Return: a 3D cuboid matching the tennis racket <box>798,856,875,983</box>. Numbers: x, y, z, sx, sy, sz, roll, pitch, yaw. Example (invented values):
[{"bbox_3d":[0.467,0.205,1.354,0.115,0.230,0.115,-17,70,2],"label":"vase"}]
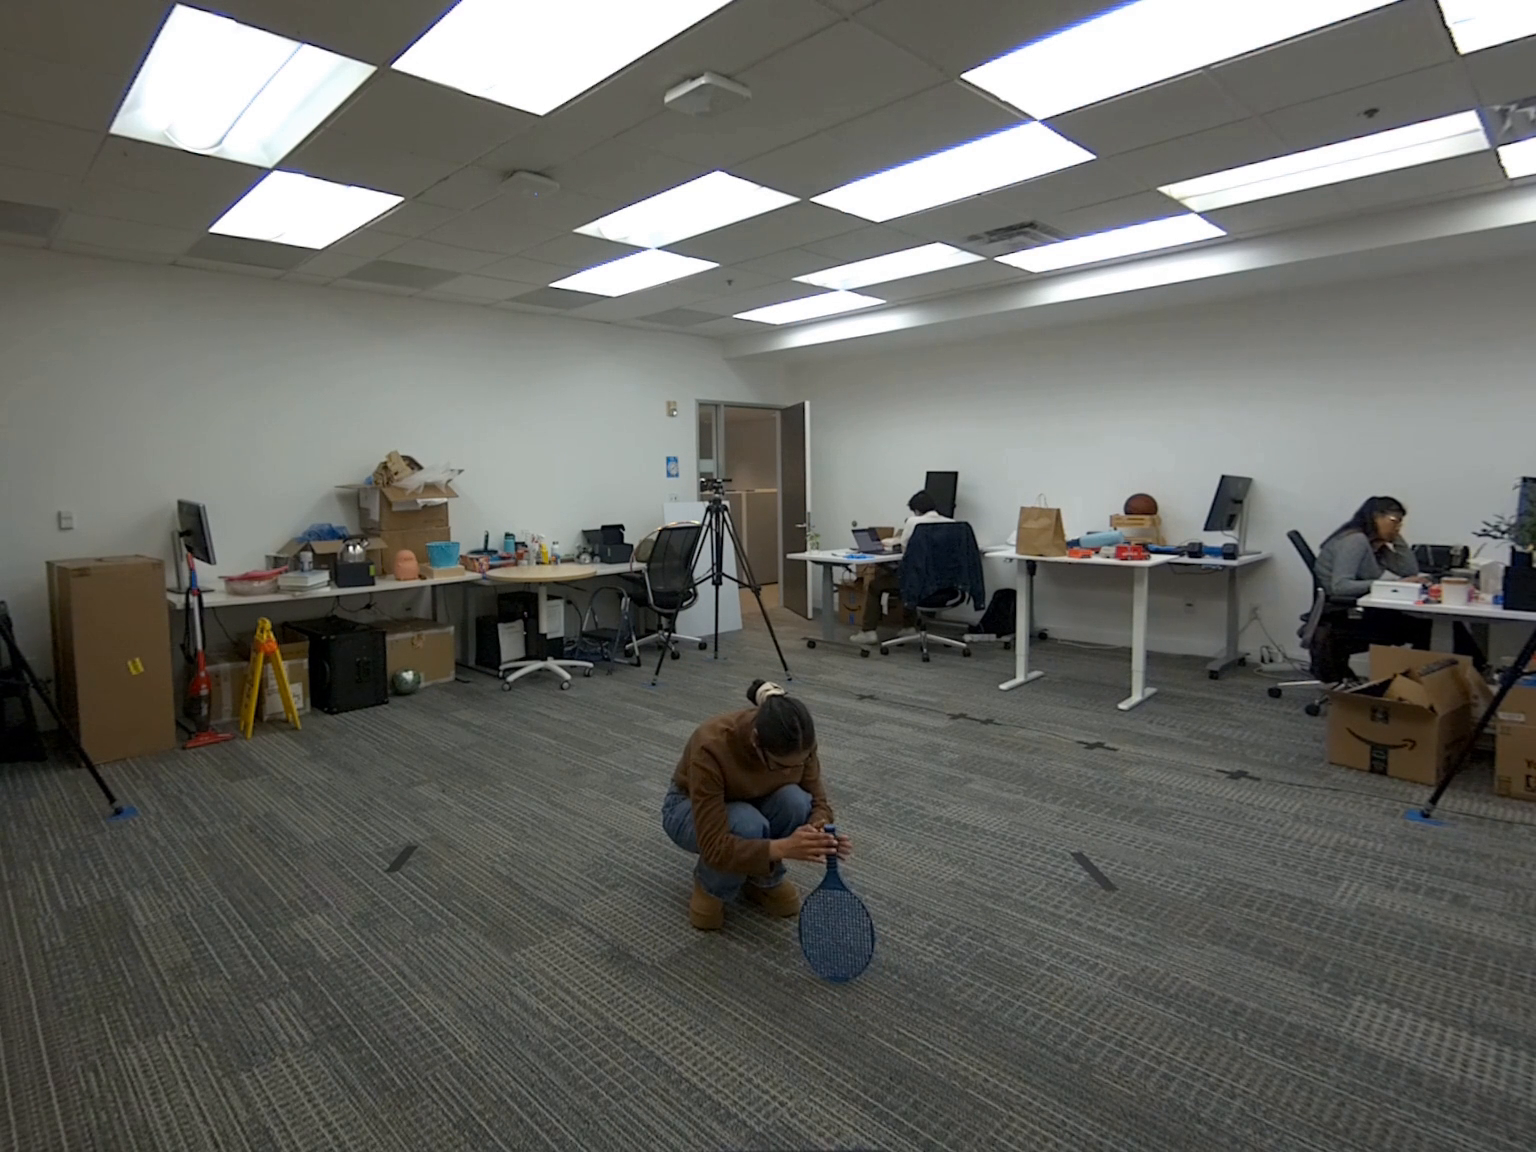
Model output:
[{"bbox_3d":[0.190,0.910,2.372,0.216,0.432,0.031,1,2,13],"label":"tennis racket"}]
